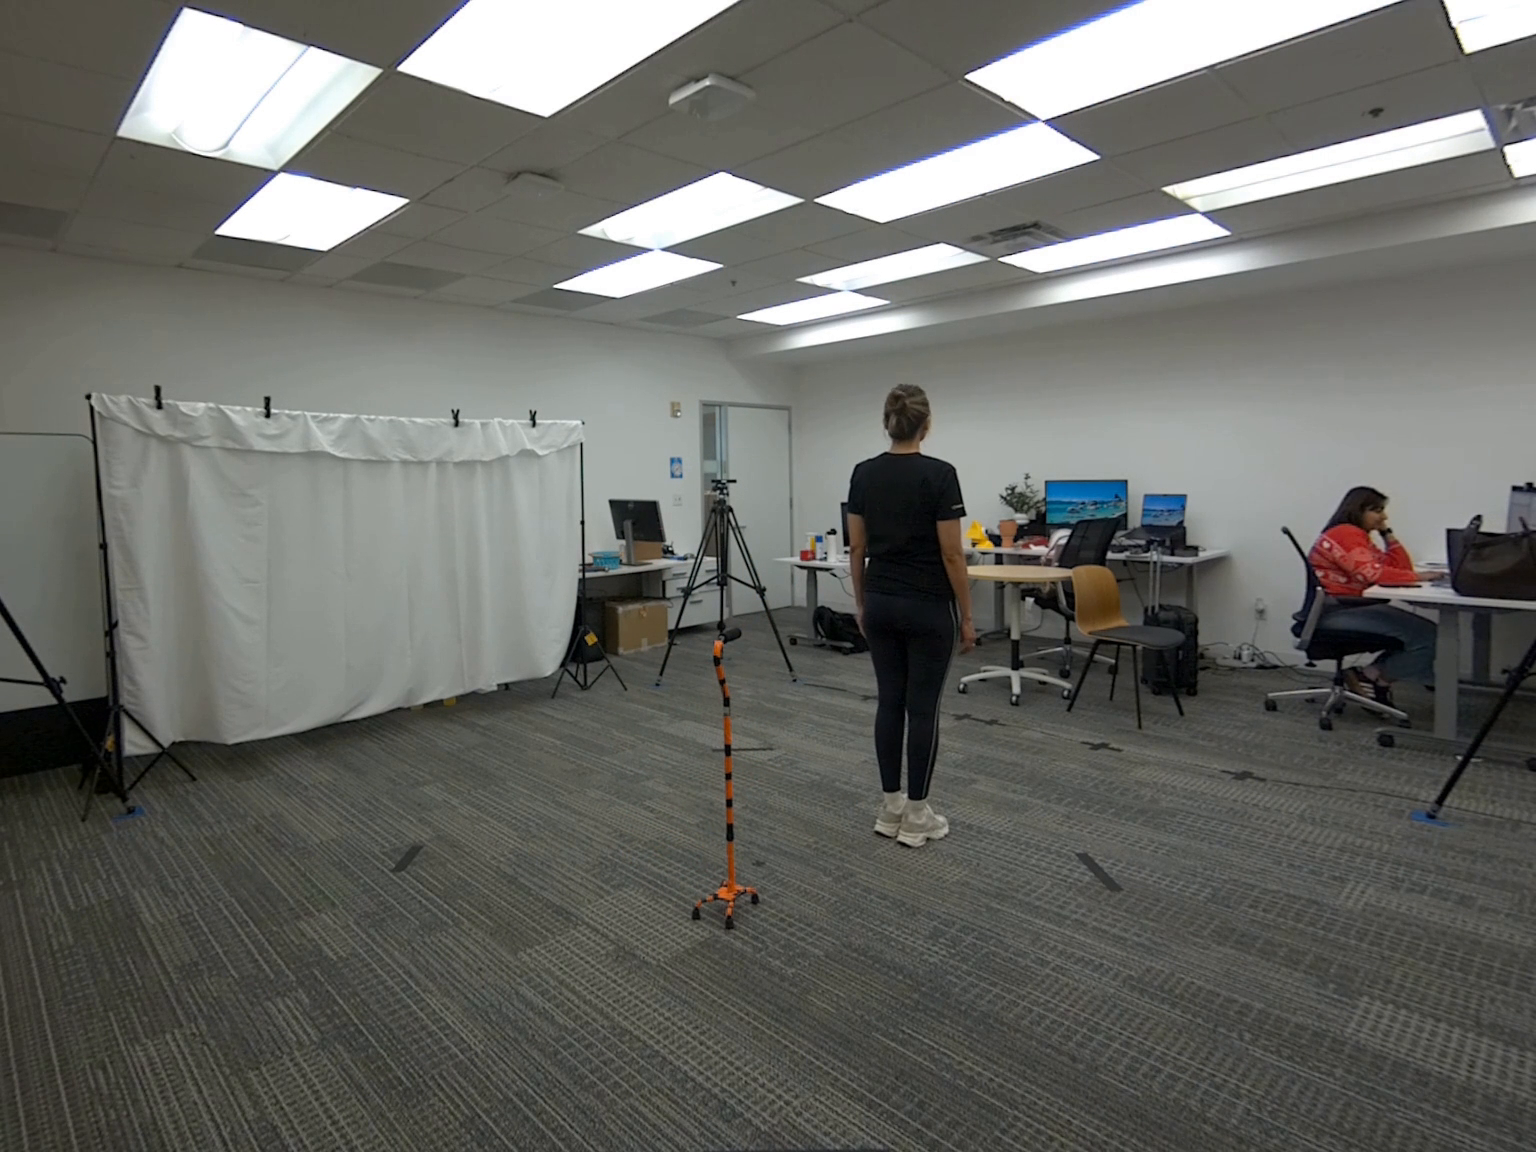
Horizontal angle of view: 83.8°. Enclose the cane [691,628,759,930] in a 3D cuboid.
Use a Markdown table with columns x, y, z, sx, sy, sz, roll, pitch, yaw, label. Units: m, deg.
| x | y | z | sx | sy | sz | roll | pitch | yaw | label |
| --- | --- | --- | --- | --- | --- | --- | --- | --- | --- |
| -0.141 | 0.632 | 2.748 | 0.155 | 0.904 | 0.203 | 0 | 4 | 23 | cane |
